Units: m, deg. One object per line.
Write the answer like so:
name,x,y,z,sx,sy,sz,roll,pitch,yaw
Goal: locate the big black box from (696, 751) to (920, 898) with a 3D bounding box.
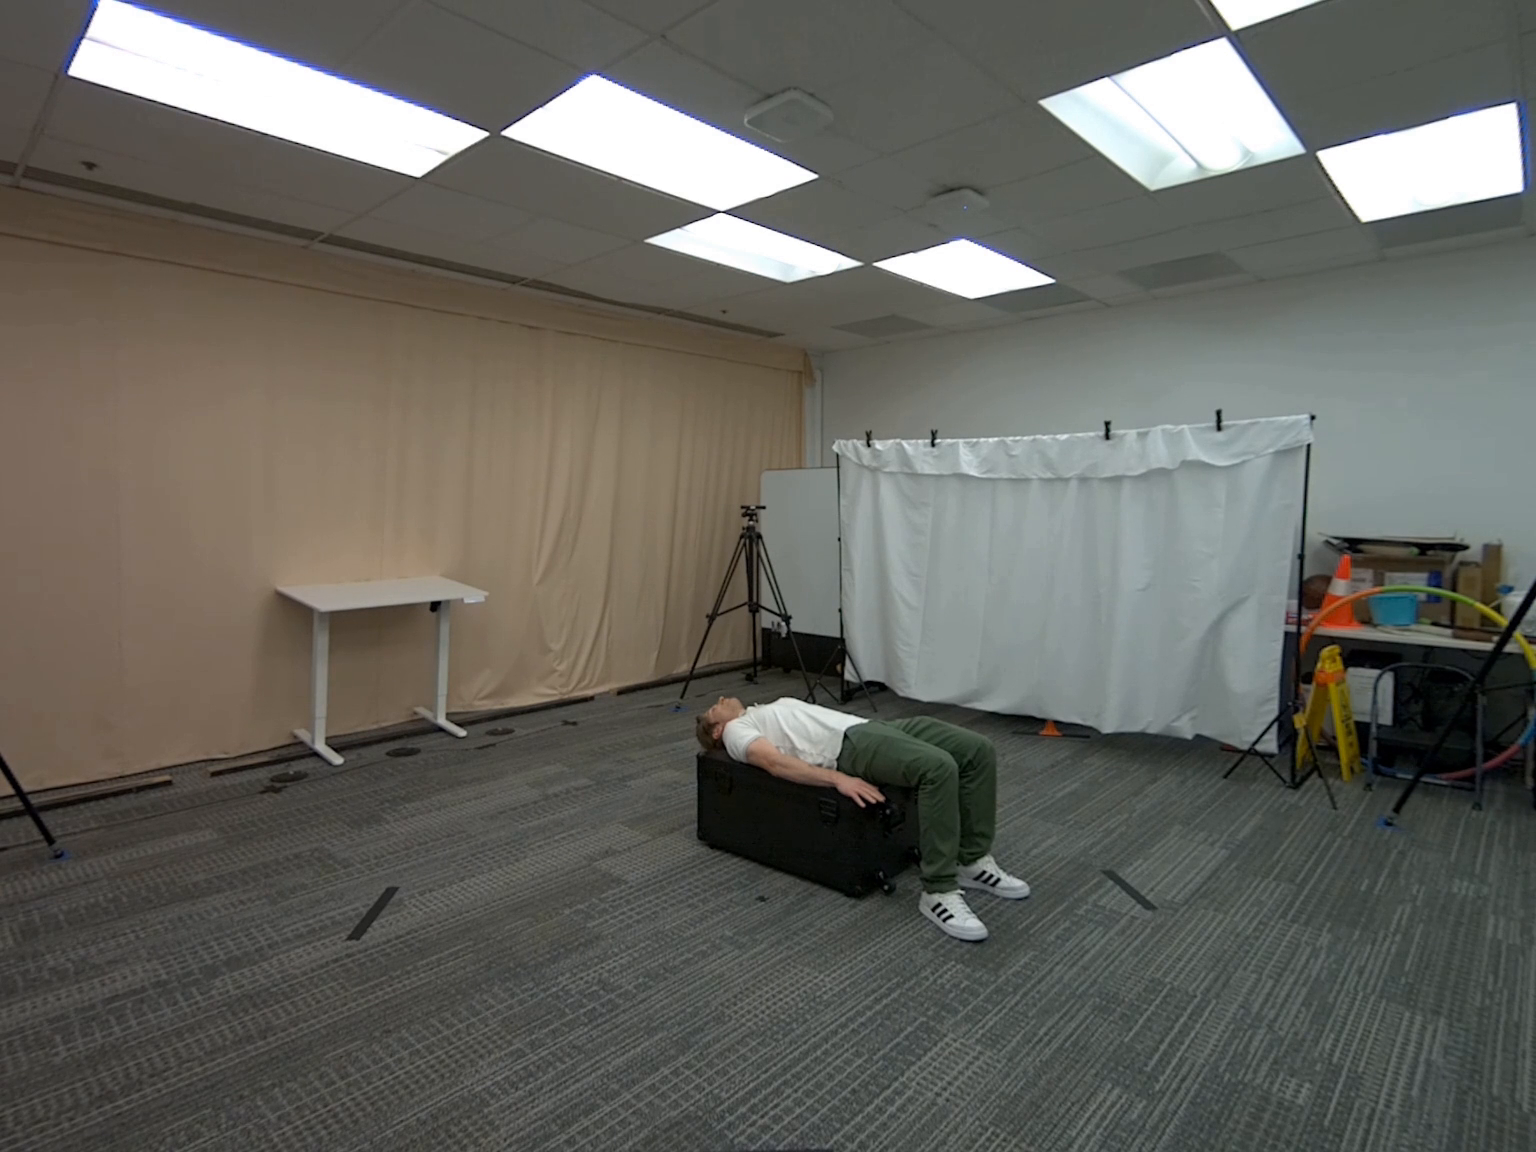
big black box,0.191,0.923,3.347,0.897,0.384,0.507,5,6,39
